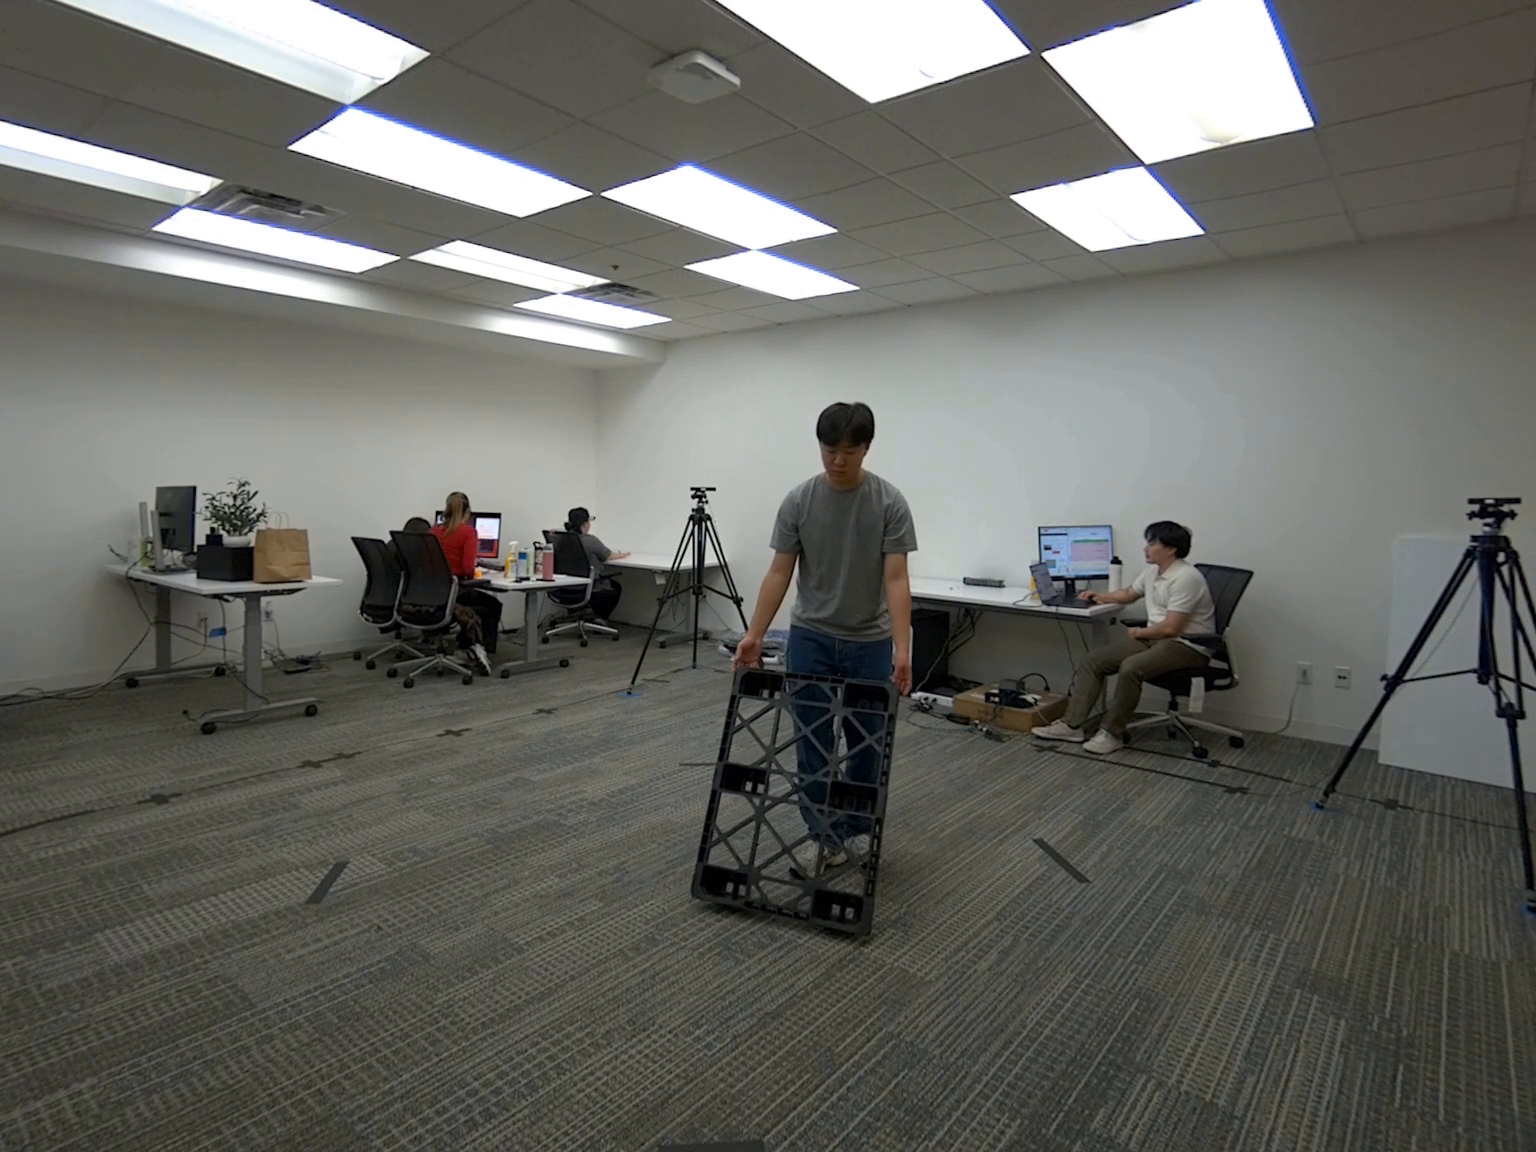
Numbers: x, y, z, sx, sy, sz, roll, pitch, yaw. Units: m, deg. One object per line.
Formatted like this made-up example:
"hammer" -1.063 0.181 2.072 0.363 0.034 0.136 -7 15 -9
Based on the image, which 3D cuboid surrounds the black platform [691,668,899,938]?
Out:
"black platform" 0.103 0.740 2.912 0.618 0.818 0.138 2 -25 20
